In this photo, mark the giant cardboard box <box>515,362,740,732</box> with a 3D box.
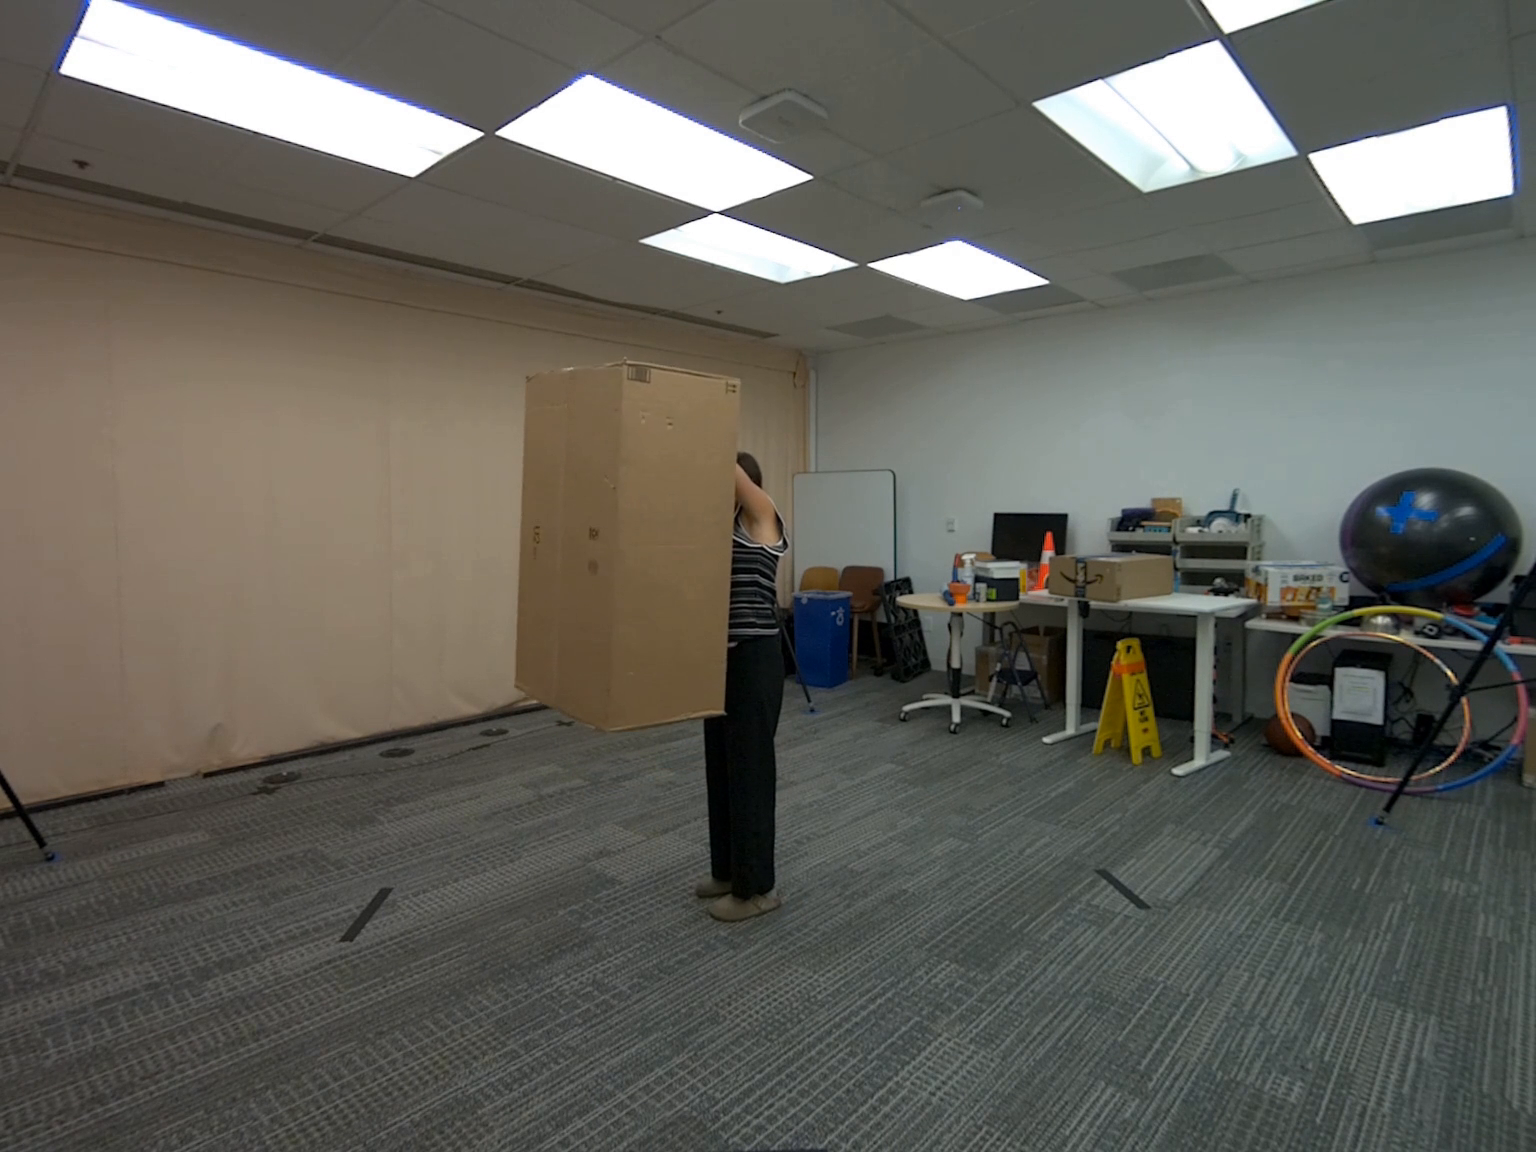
[{"bbox_3d":[-0.452,-0.102,2.636,0.413,1.023,0.597,0,6,-42],"label":"giant cardboard box"}]
